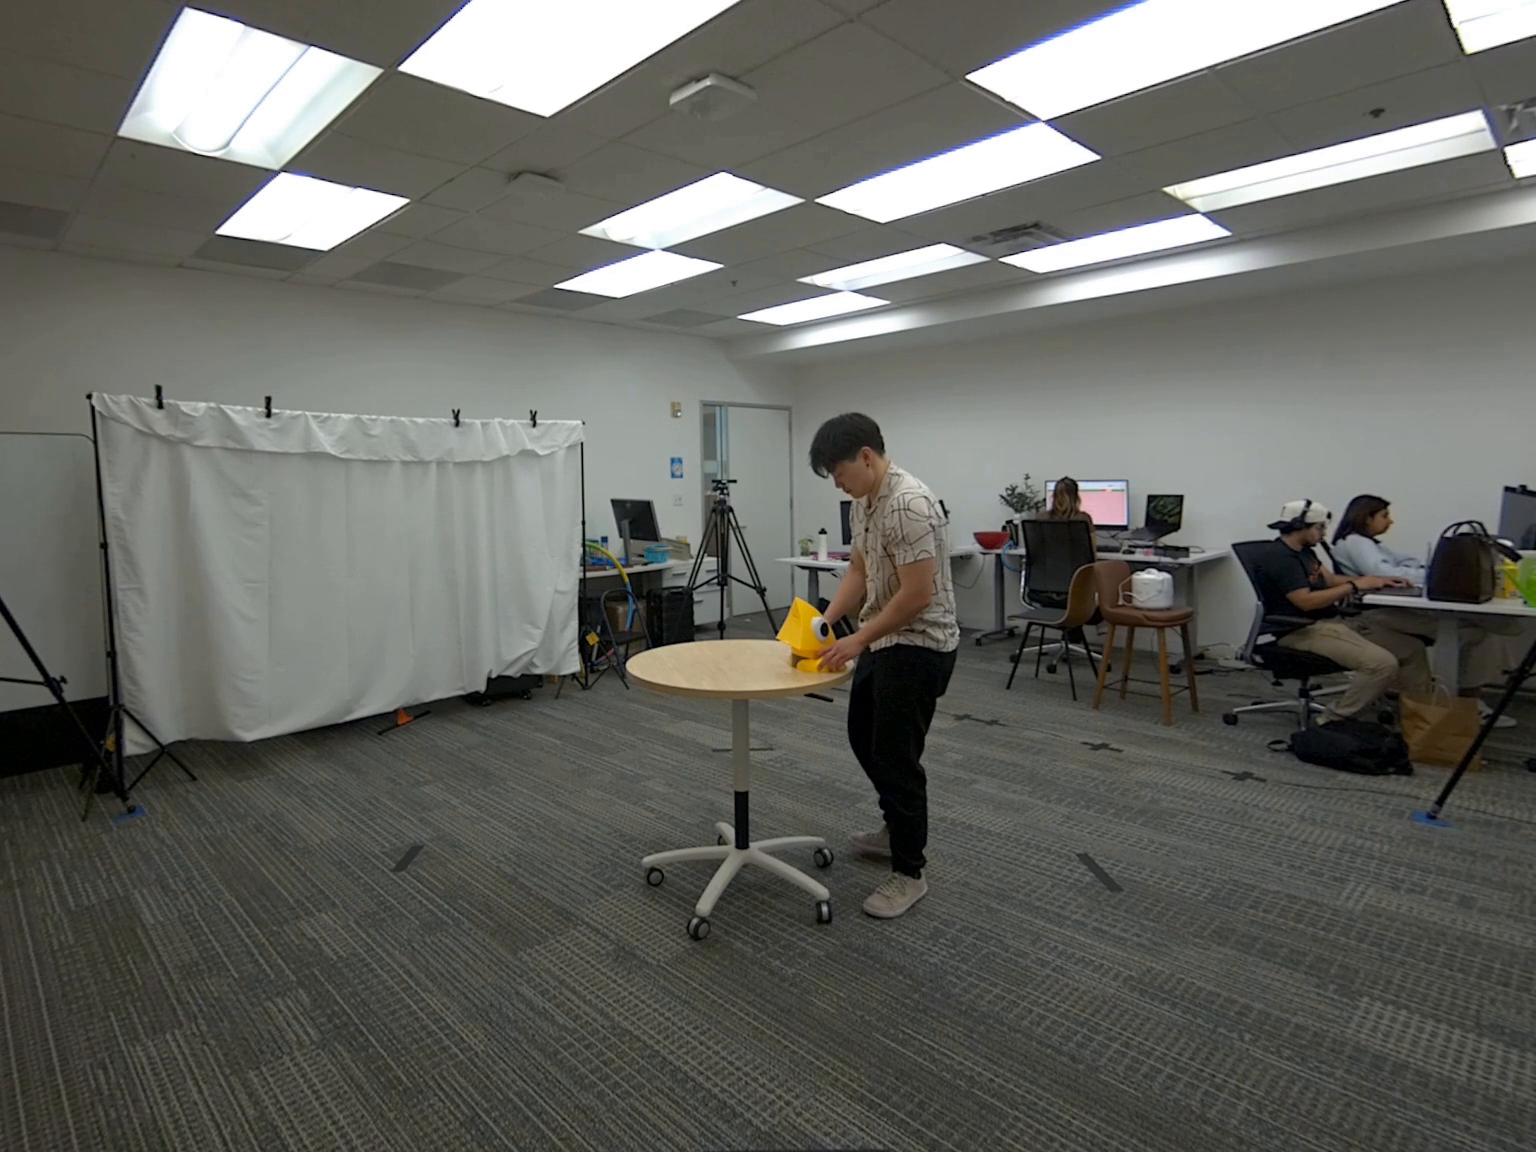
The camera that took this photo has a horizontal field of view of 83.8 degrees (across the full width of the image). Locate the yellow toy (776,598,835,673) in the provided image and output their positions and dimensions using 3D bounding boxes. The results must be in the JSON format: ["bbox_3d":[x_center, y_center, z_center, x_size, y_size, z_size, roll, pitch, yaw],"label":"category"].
[{"bbox_3d":[0.155,0.182,2.813,0.190,0.230,0.209,-2,6,-18],"label":"yellow toy"}]
